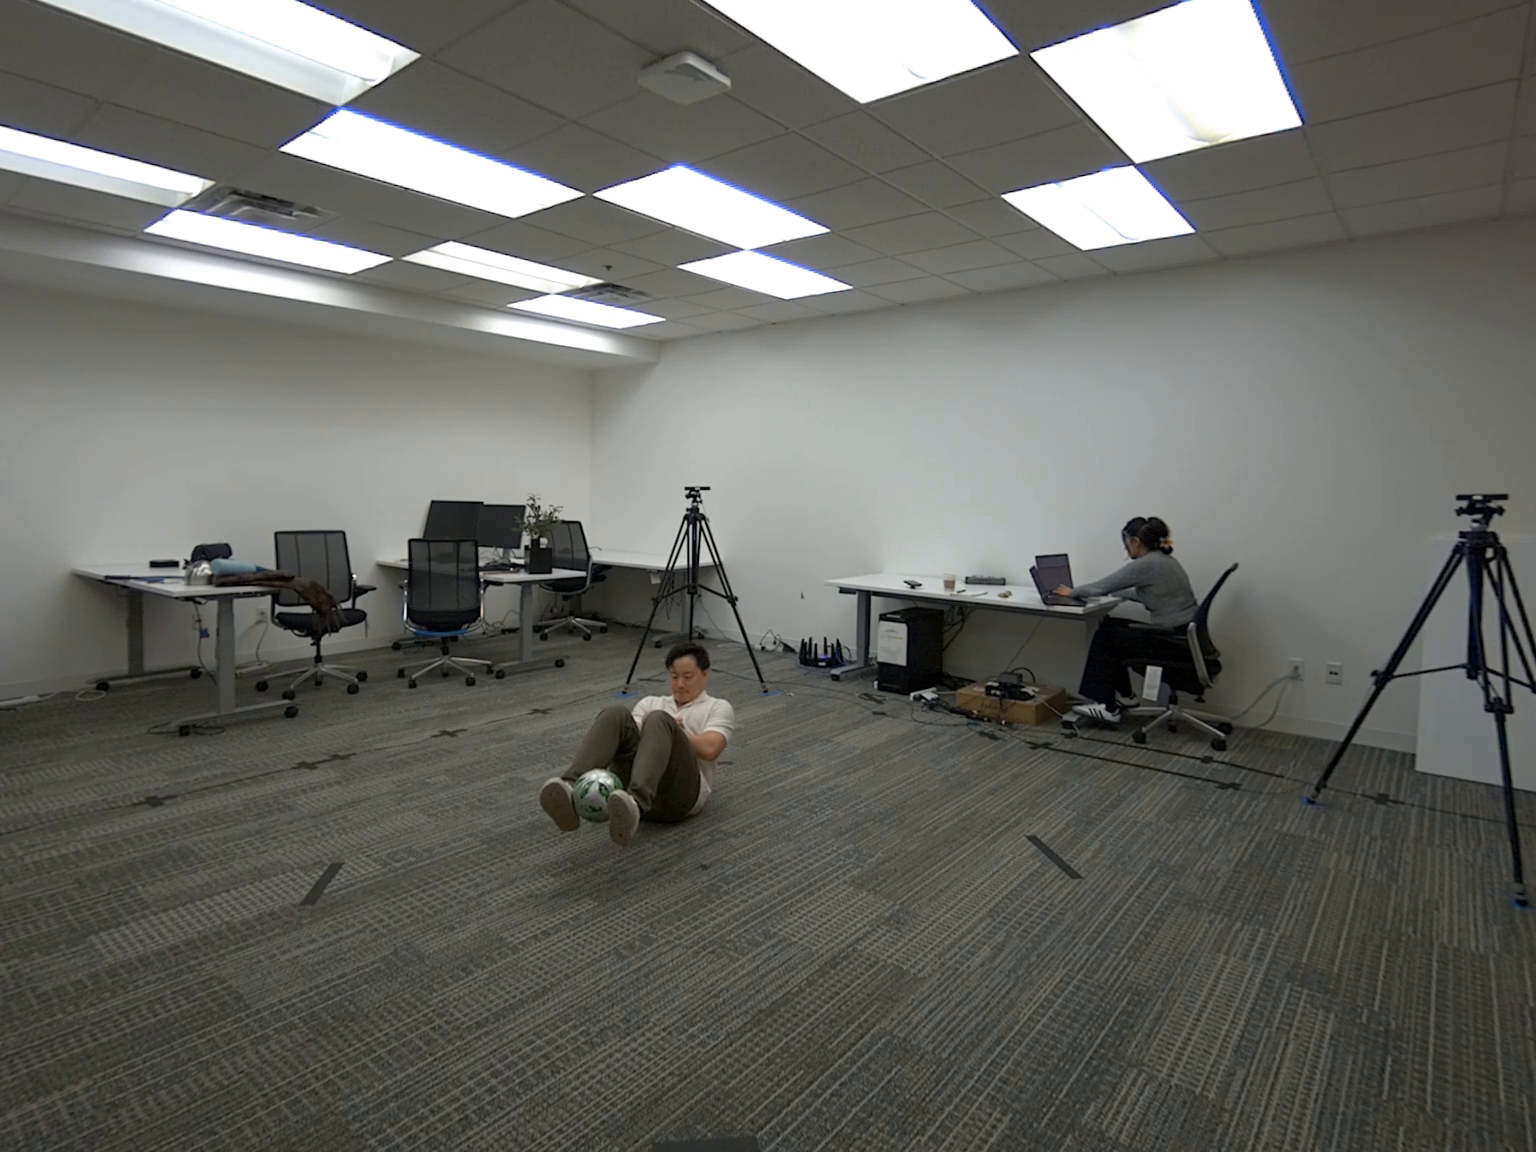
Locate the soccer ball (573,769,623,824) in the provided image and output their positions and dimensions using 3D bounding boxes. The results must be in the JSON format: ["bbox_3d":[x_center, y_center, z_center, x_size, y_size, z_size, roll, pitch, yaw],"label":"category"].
[{"bbox_3d":[-0.633,0.787,3.053,0.187,0.187,0.188,1,4,-2],"label":"soccer ball"}]
